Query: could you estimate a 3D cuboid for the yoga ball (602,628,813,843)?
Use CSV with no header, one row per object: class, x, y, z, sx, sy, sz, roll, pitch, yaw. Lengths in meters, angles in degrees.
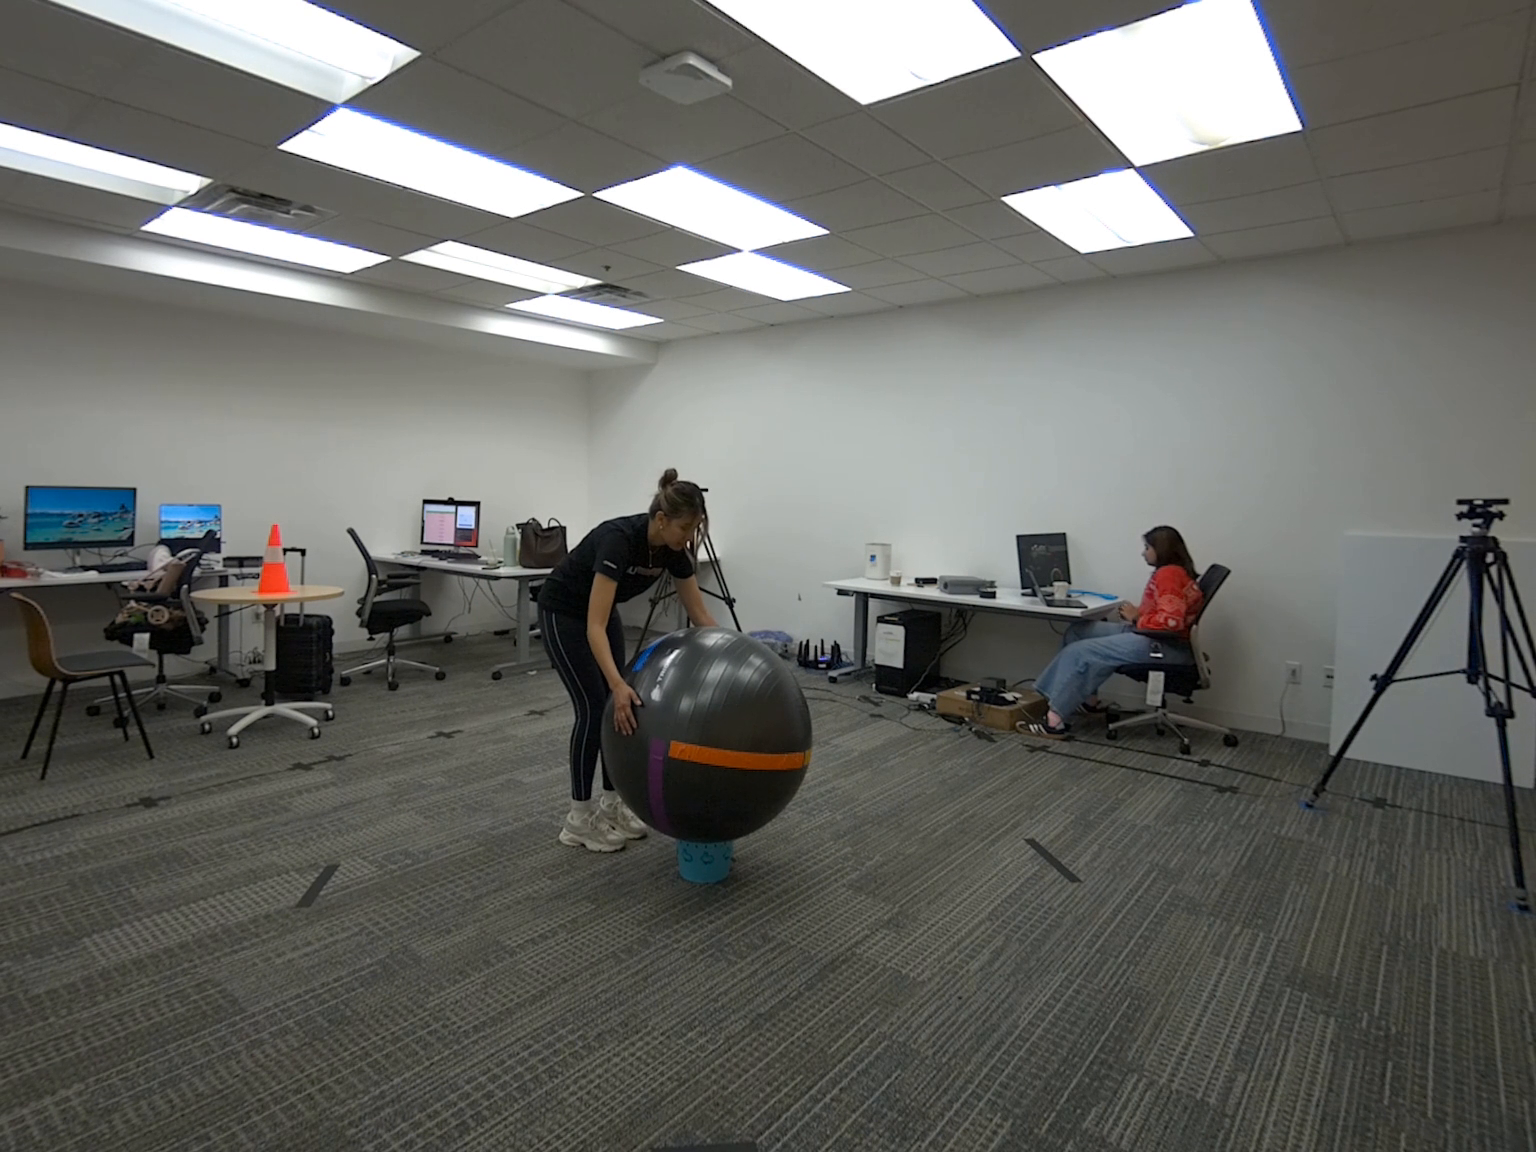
yoga ball,-0.227,0.563,3.067,0.757,0.755,0.762,1,4,-2
